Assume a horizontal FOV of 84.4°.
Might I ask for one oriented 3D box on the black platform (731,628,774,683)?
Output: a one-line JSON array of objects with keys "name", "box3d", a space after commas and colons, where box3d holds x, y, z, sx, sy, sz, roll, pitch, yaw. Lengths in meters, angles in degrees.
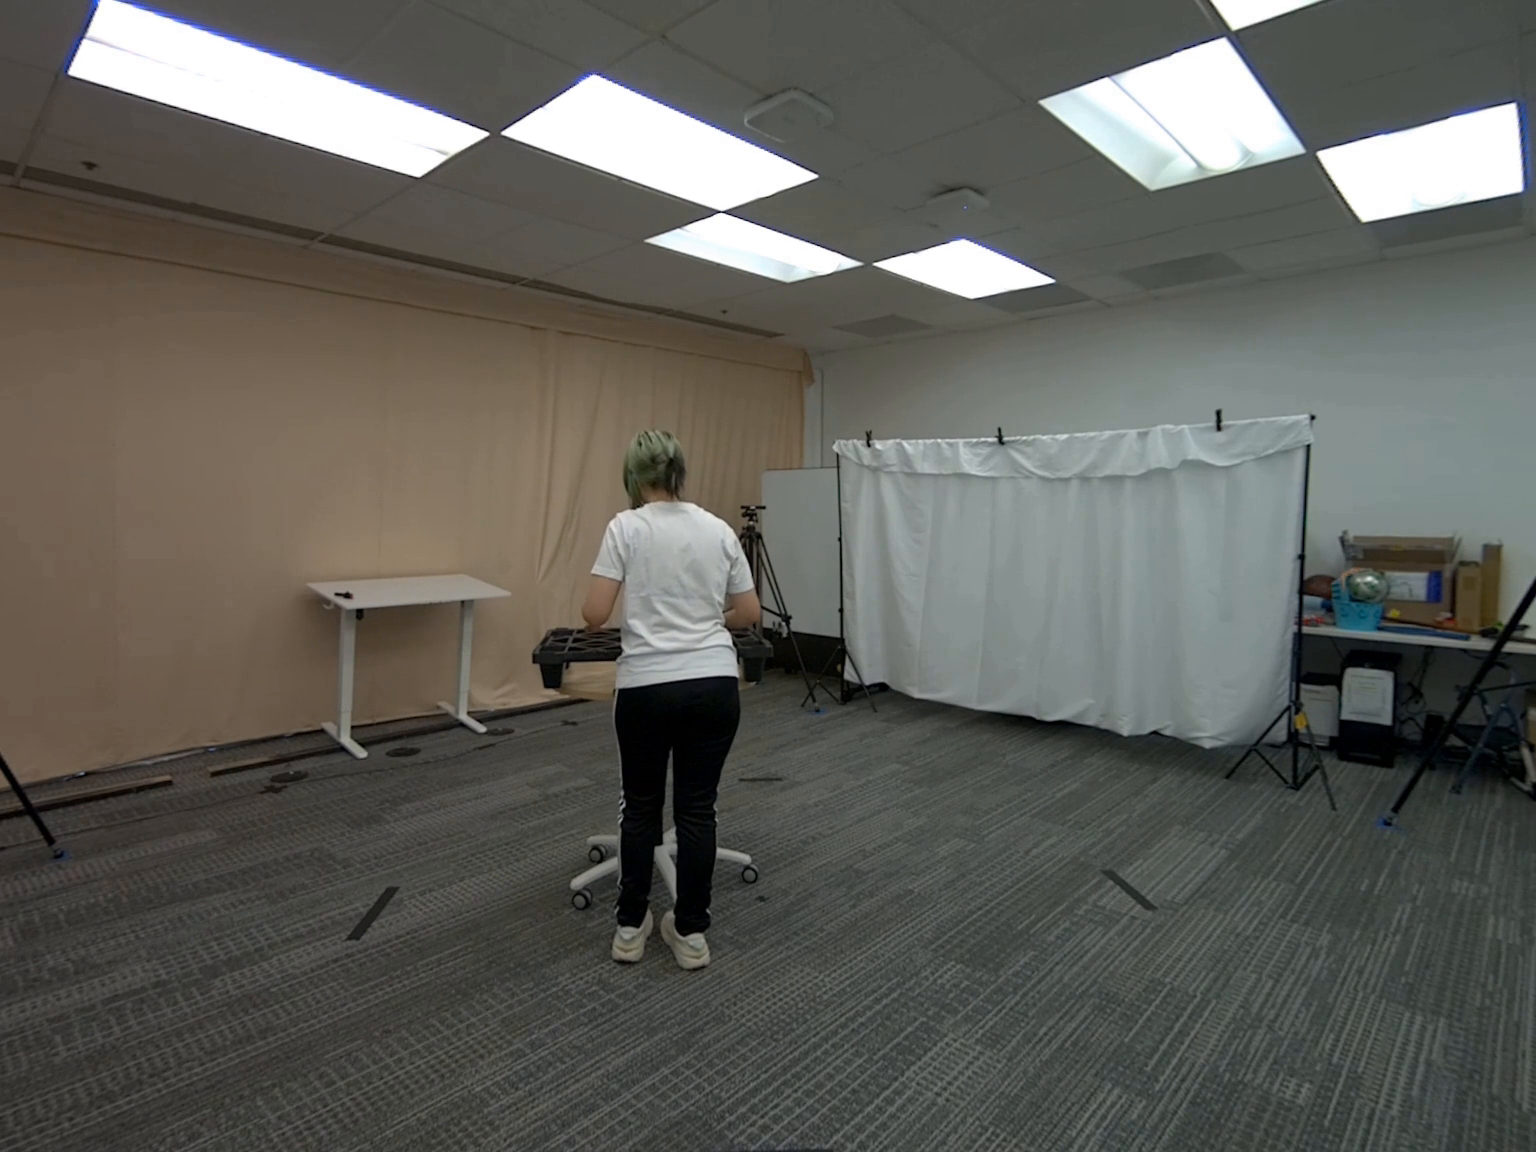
[{"name": "black platform", "box3d": [-0.412, 0.291, 3.068, 0.800, 0.143, 0.611, -1, 4, -7]}]
